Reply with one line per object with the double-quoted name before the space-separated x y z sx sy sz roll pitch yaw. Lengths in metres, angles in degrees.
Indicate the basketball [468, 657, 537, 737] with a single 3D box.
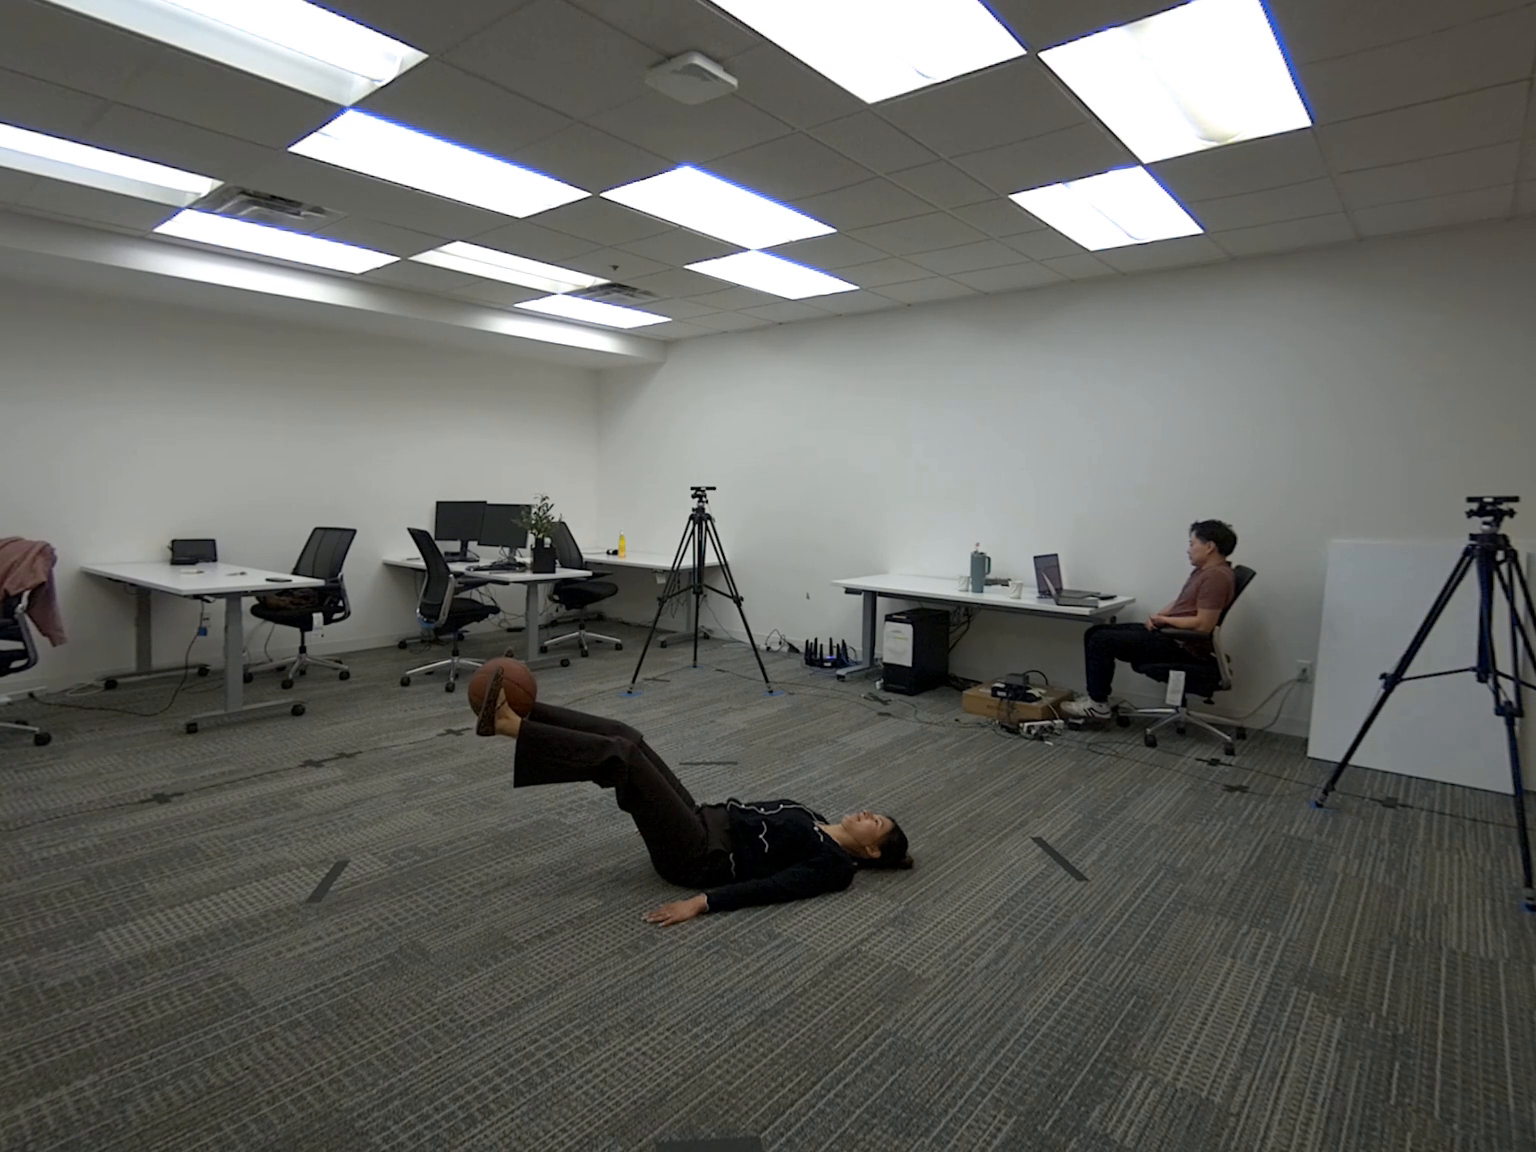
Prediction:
"basketball" -0.944 0.399 2.979 0.236 0.234 0.238 0 7 -2
